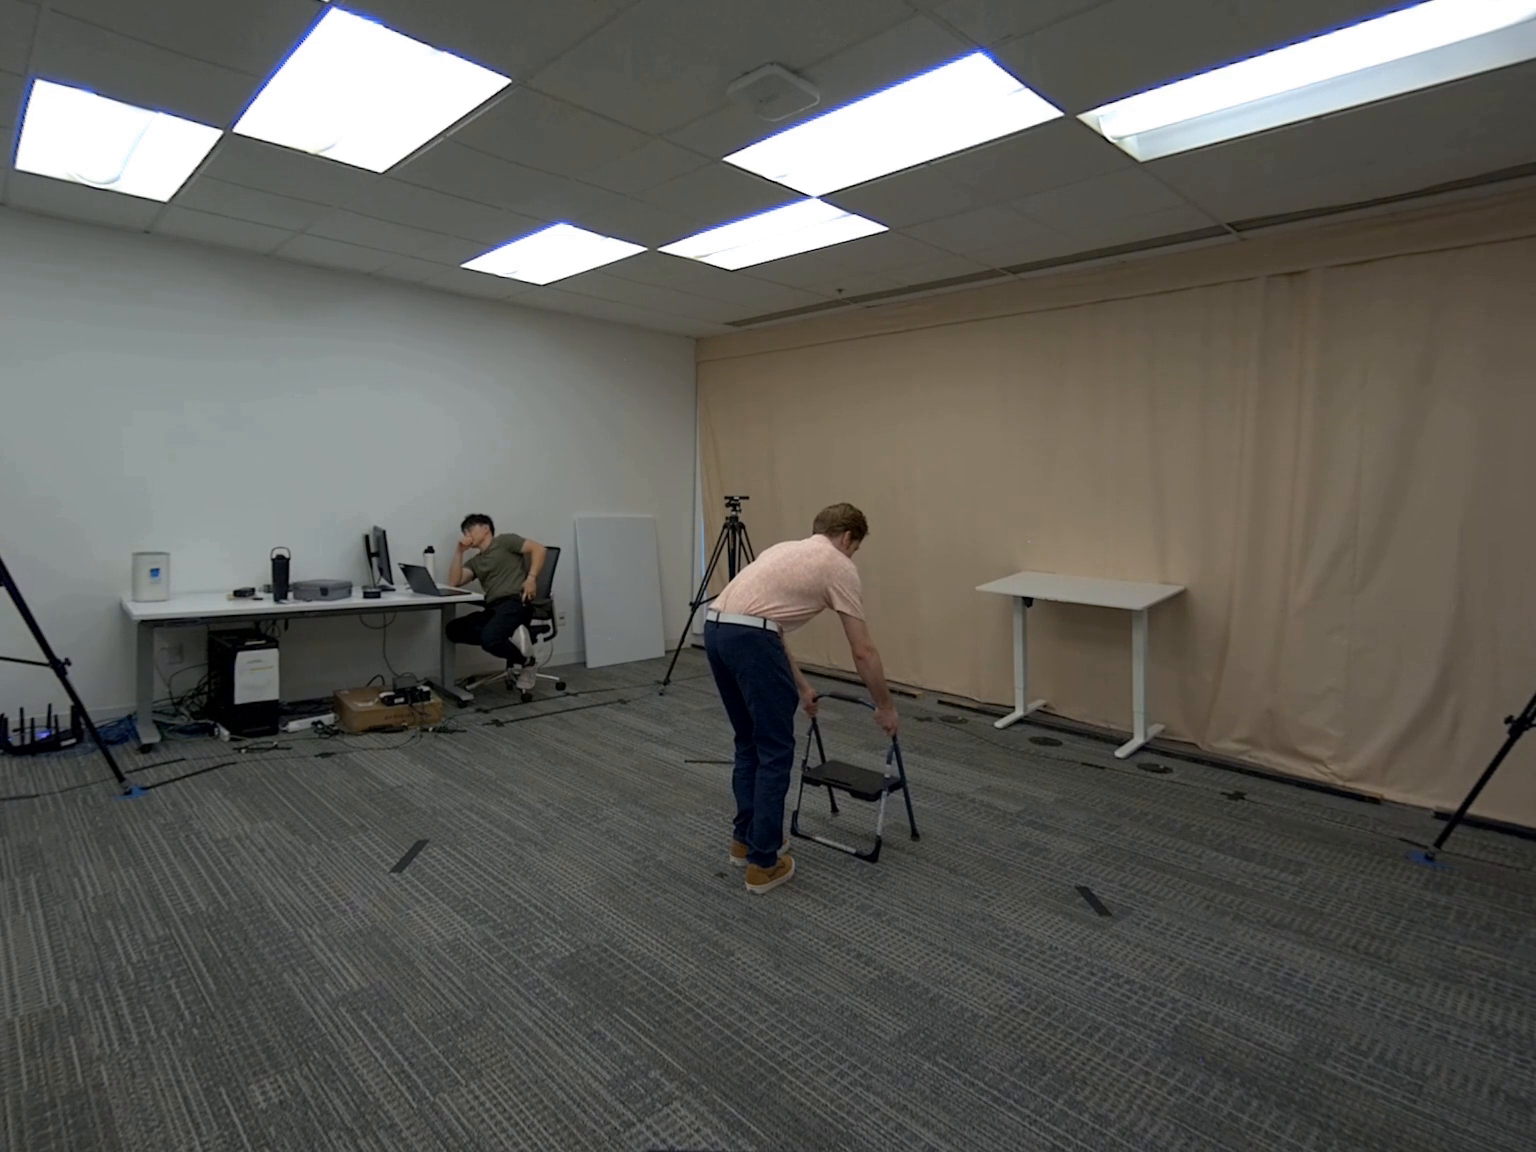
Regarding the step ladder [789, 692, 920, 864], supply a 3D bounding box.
[{"bbox_3d":[0.351,0.773,3.471,0.441,0.604,0.342,4,6,39],"label":"step ladder"}]
